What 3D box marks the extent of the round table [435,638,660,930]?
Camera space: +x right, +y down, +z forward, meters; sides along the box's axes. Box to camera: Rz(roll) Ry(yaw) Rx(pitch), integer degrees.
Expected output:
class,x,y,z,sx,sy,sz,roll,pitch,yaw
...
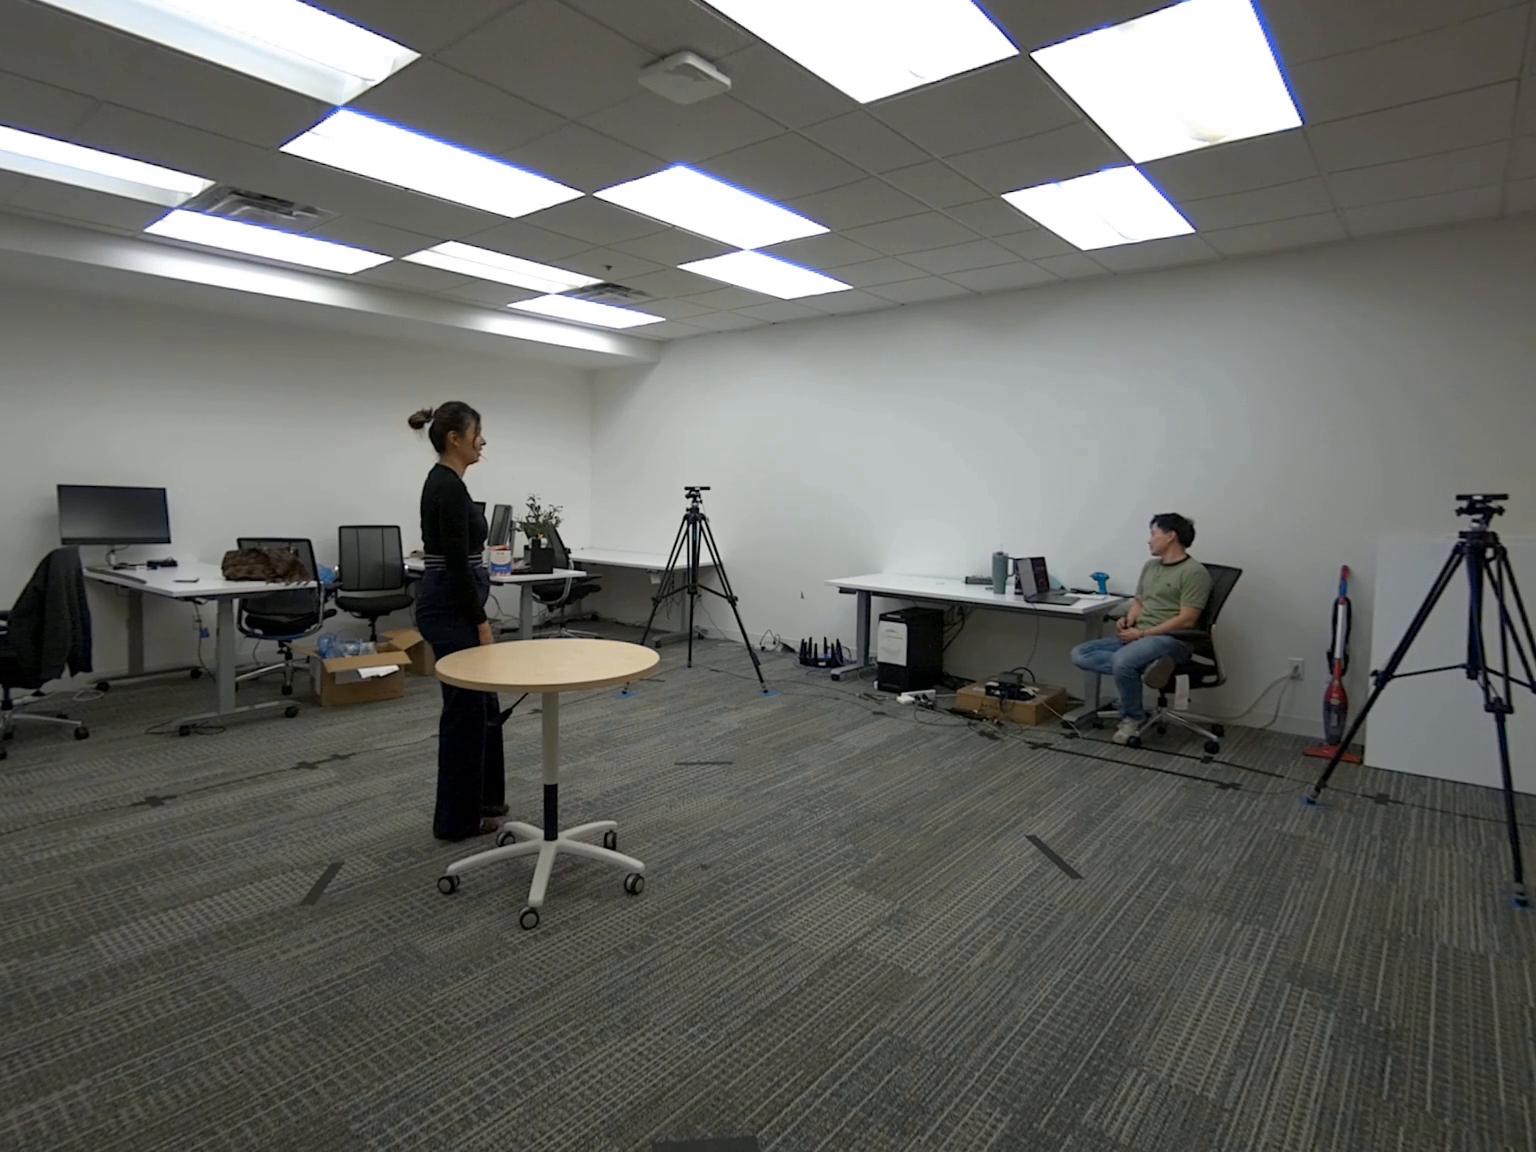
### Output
class,x,y,z,sx,sy,sz,roll,pitch,yaw
round table,-0.776,0.680,2.999,0.763,0.791,0.768,0,4,-2
